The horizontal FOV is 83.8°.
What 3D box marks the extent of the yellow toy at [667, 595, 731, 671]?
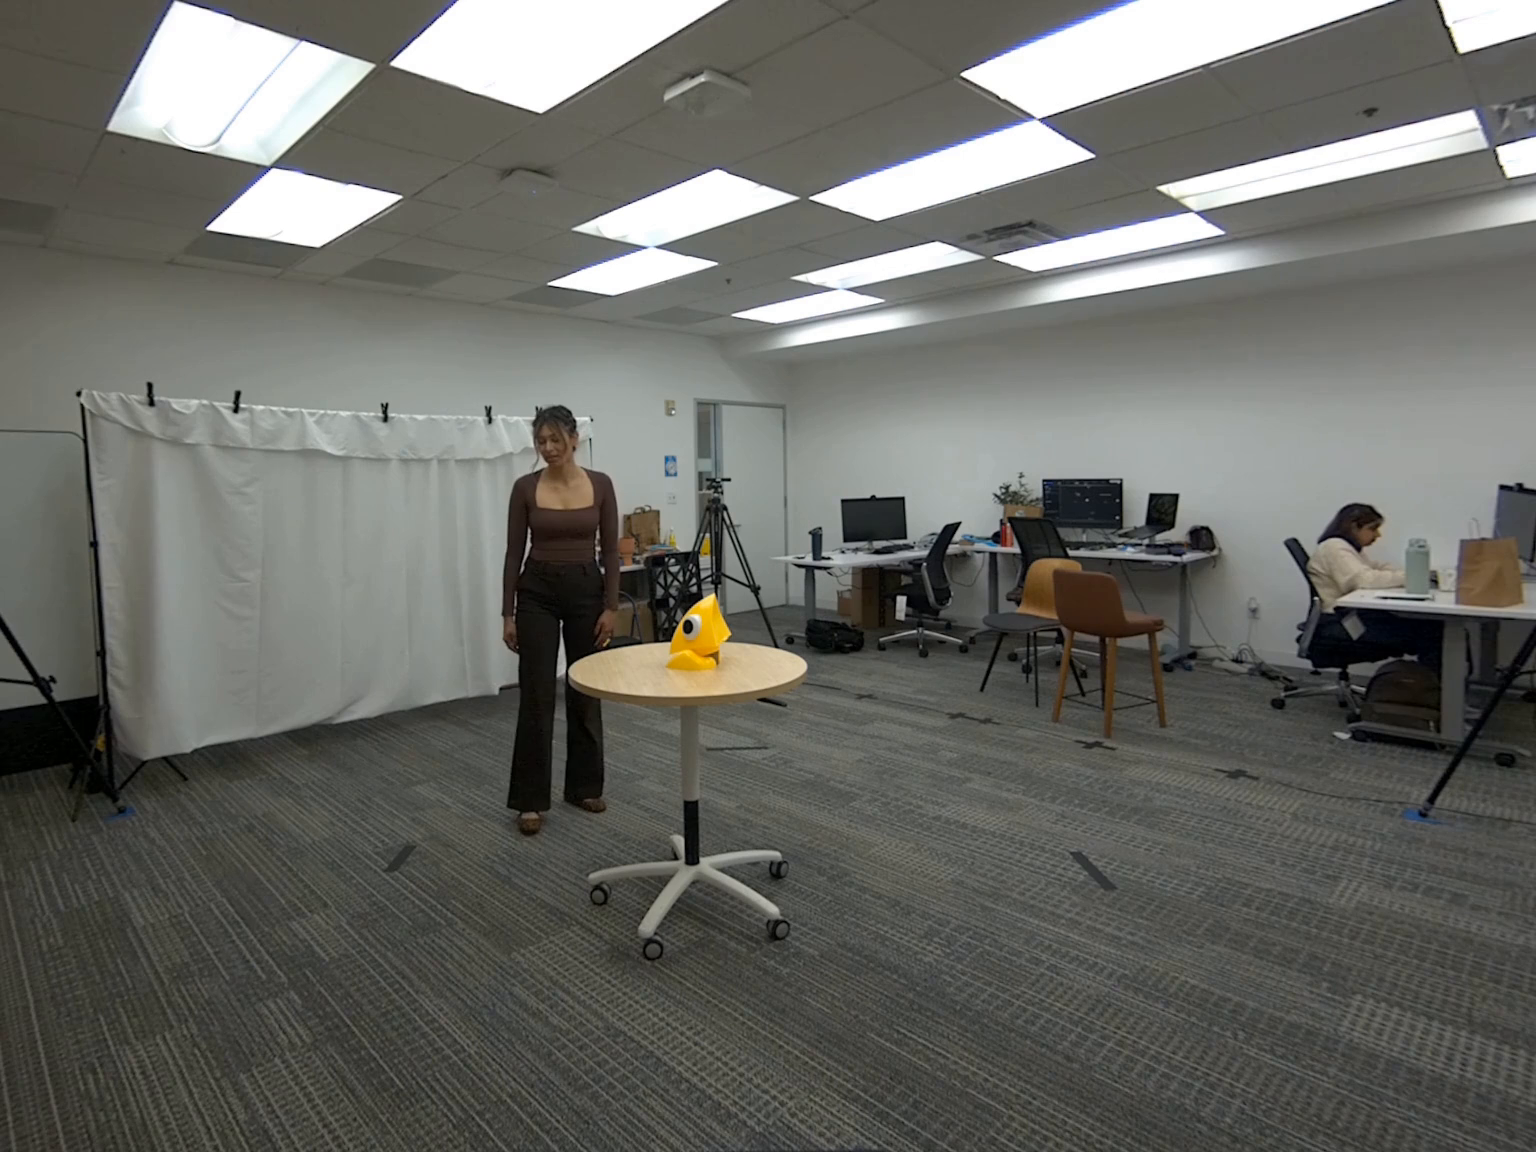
[{"bbox_3d":[-0.229,0.170,2.781,0.195,0.230,0.203,1,5,12],"label":"yellow toy"}]
